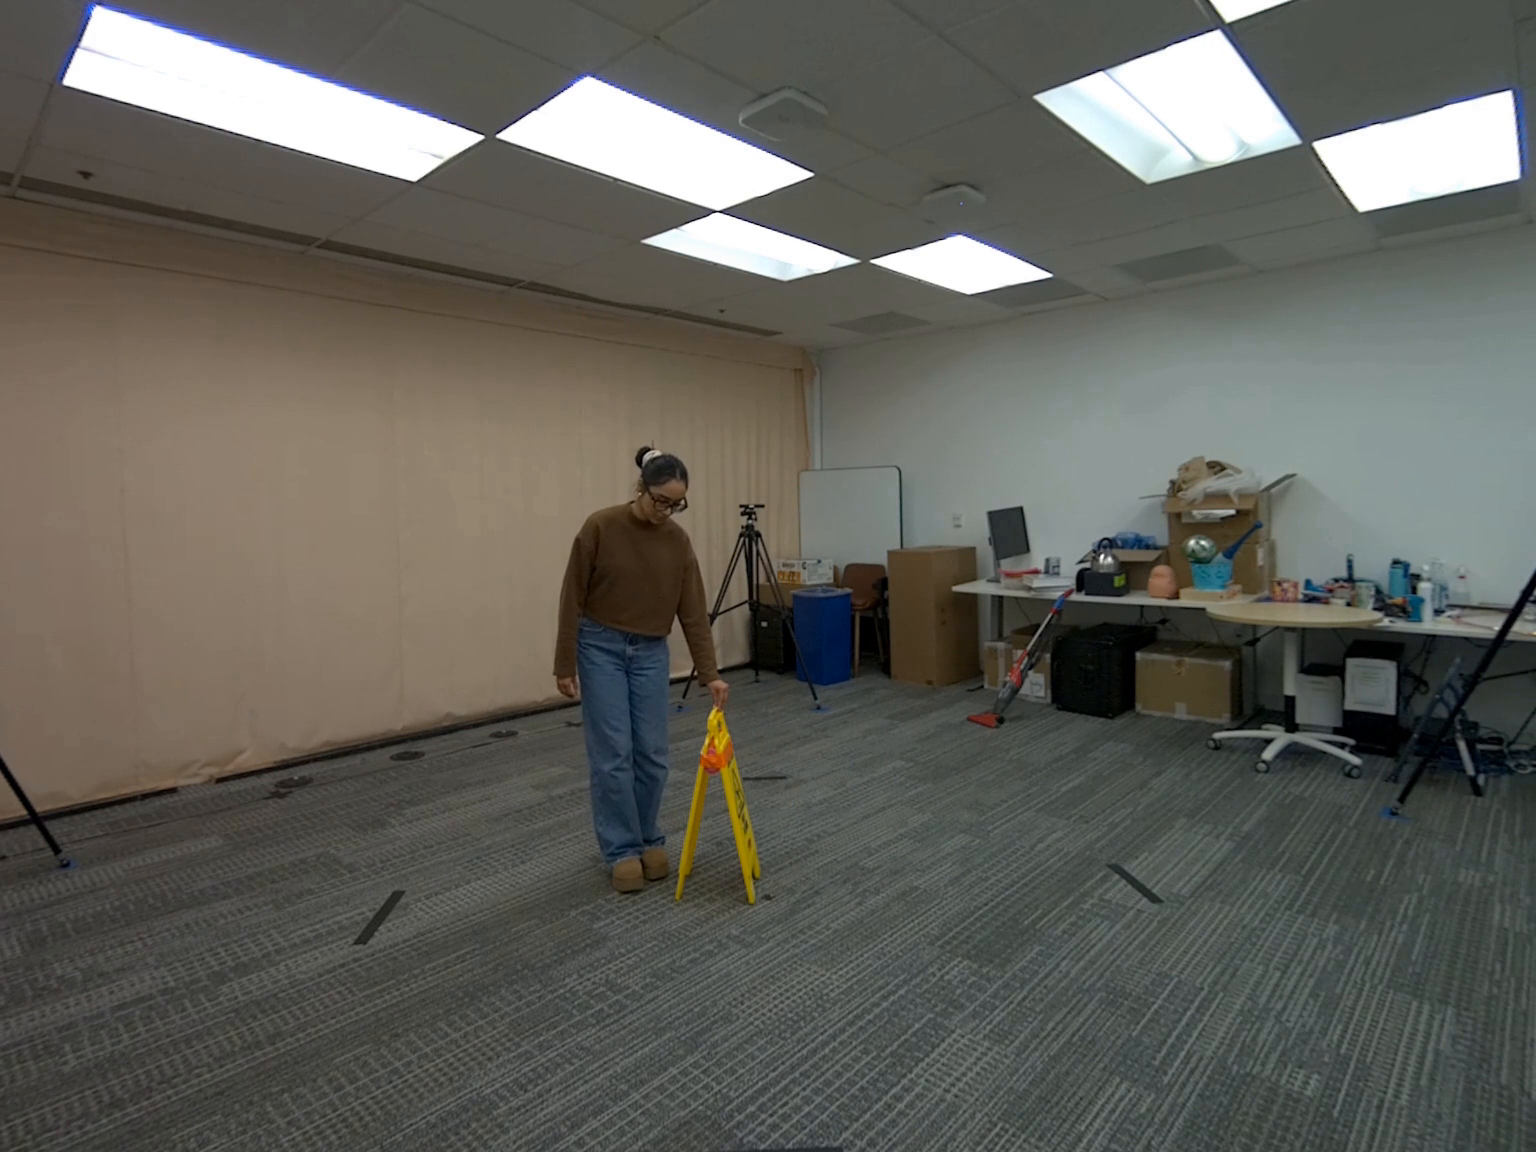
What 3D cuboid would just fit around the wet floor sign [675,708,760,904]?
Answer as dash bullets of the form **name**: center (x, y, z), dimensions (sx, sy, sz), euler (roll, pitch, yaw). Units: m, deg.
- **wet floor sign**: center (-0.186, 0.819, 3.057), dimensions (0.292, 0.645, 0.280), euler (-2, 3, 7)
